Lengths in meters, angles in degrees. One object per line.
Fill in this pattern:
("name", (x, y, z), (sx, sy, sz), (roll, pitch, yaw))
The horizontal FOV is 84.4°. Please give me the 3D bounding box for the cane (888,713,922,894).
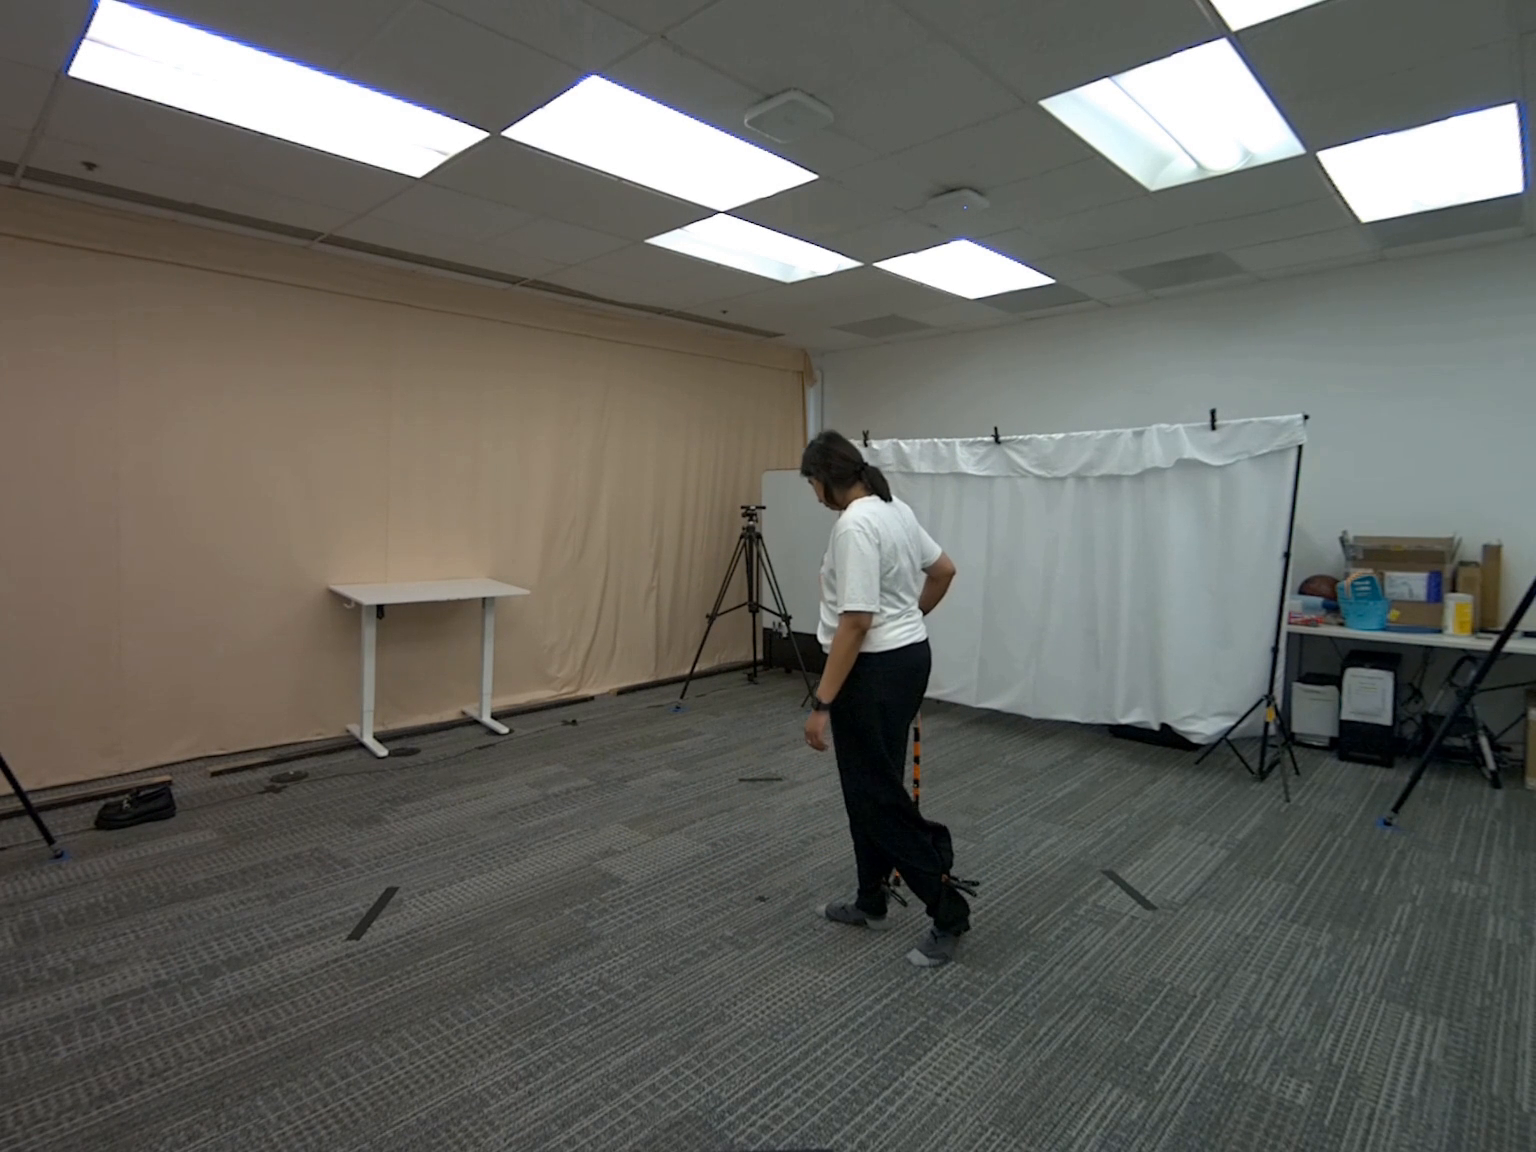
("cane", (0.568, 0.681, 3.108), (0.156, 0.906, 0.201), (1, 3, 31))
